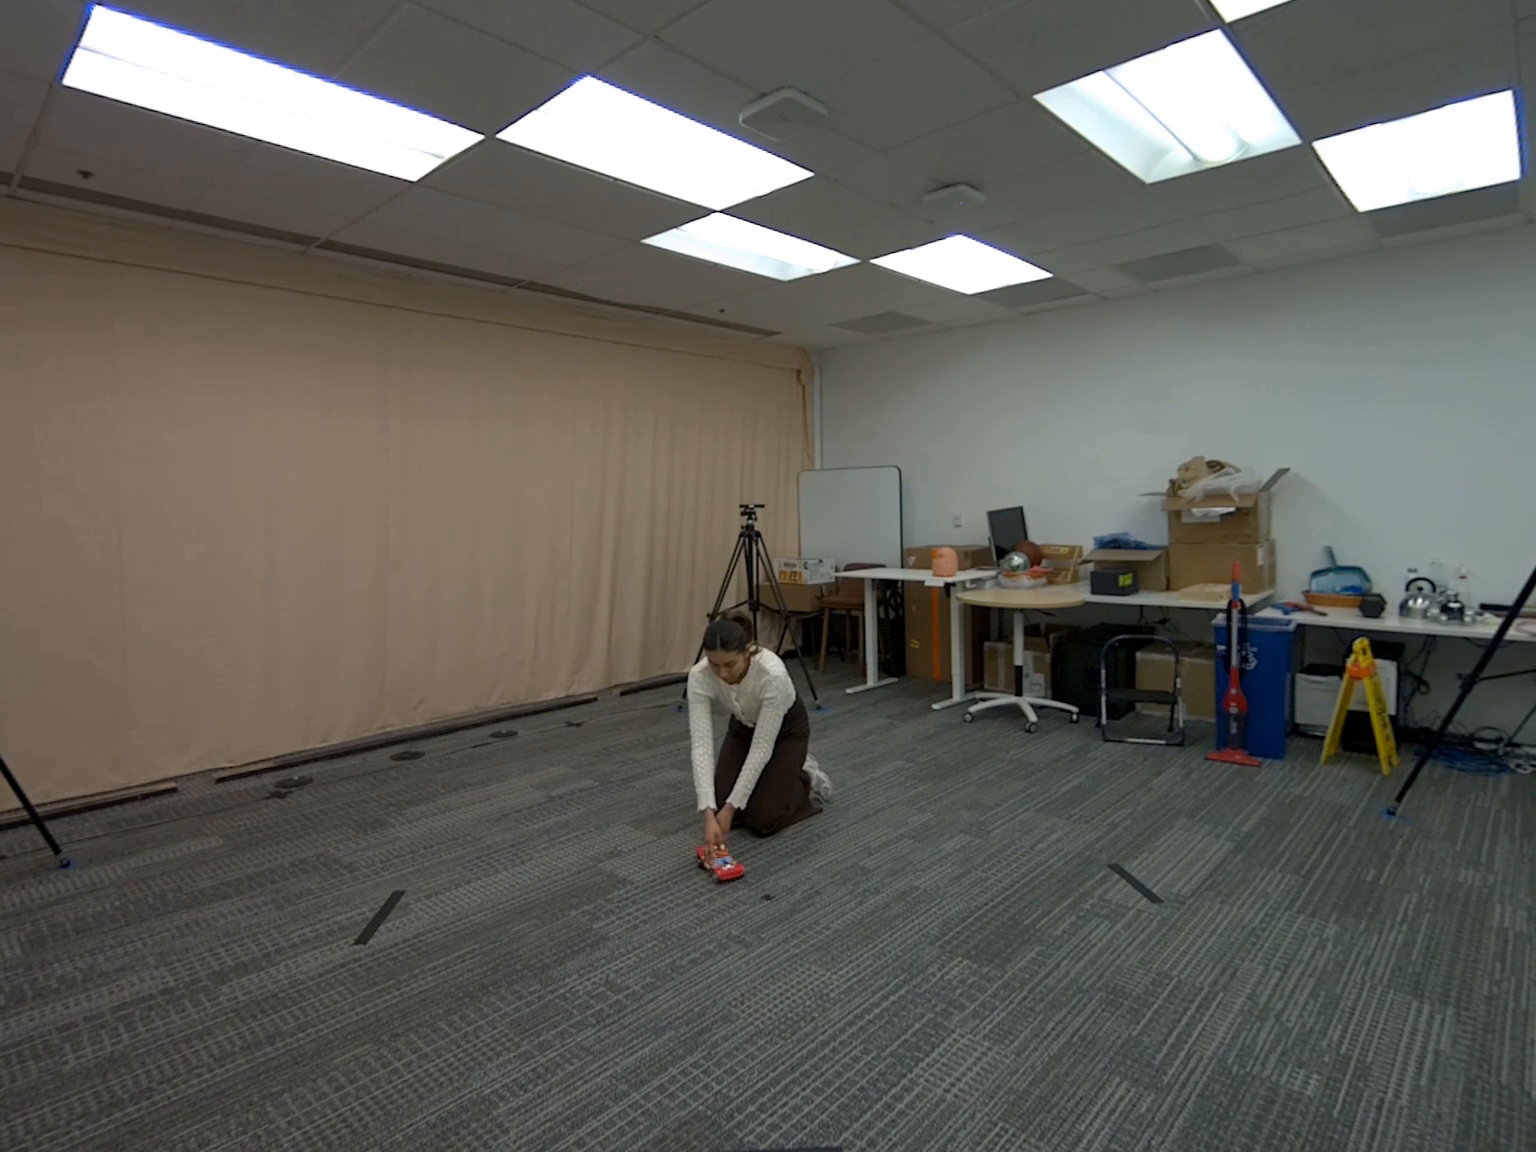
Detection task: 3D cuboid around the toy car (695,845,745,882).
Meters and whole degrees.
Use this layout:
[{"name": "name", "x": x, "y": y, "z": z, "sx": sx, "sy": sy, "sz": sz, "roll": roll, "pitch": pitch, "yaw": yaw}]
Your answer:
[{"name": "toy car", "x": -0.199, "y": 1.087, "z": 3.220, "sx": 0.127, "sy": 0.082, "sz": 0.263, "roll": -3, "pitch": 15, "yaw": -28}]
